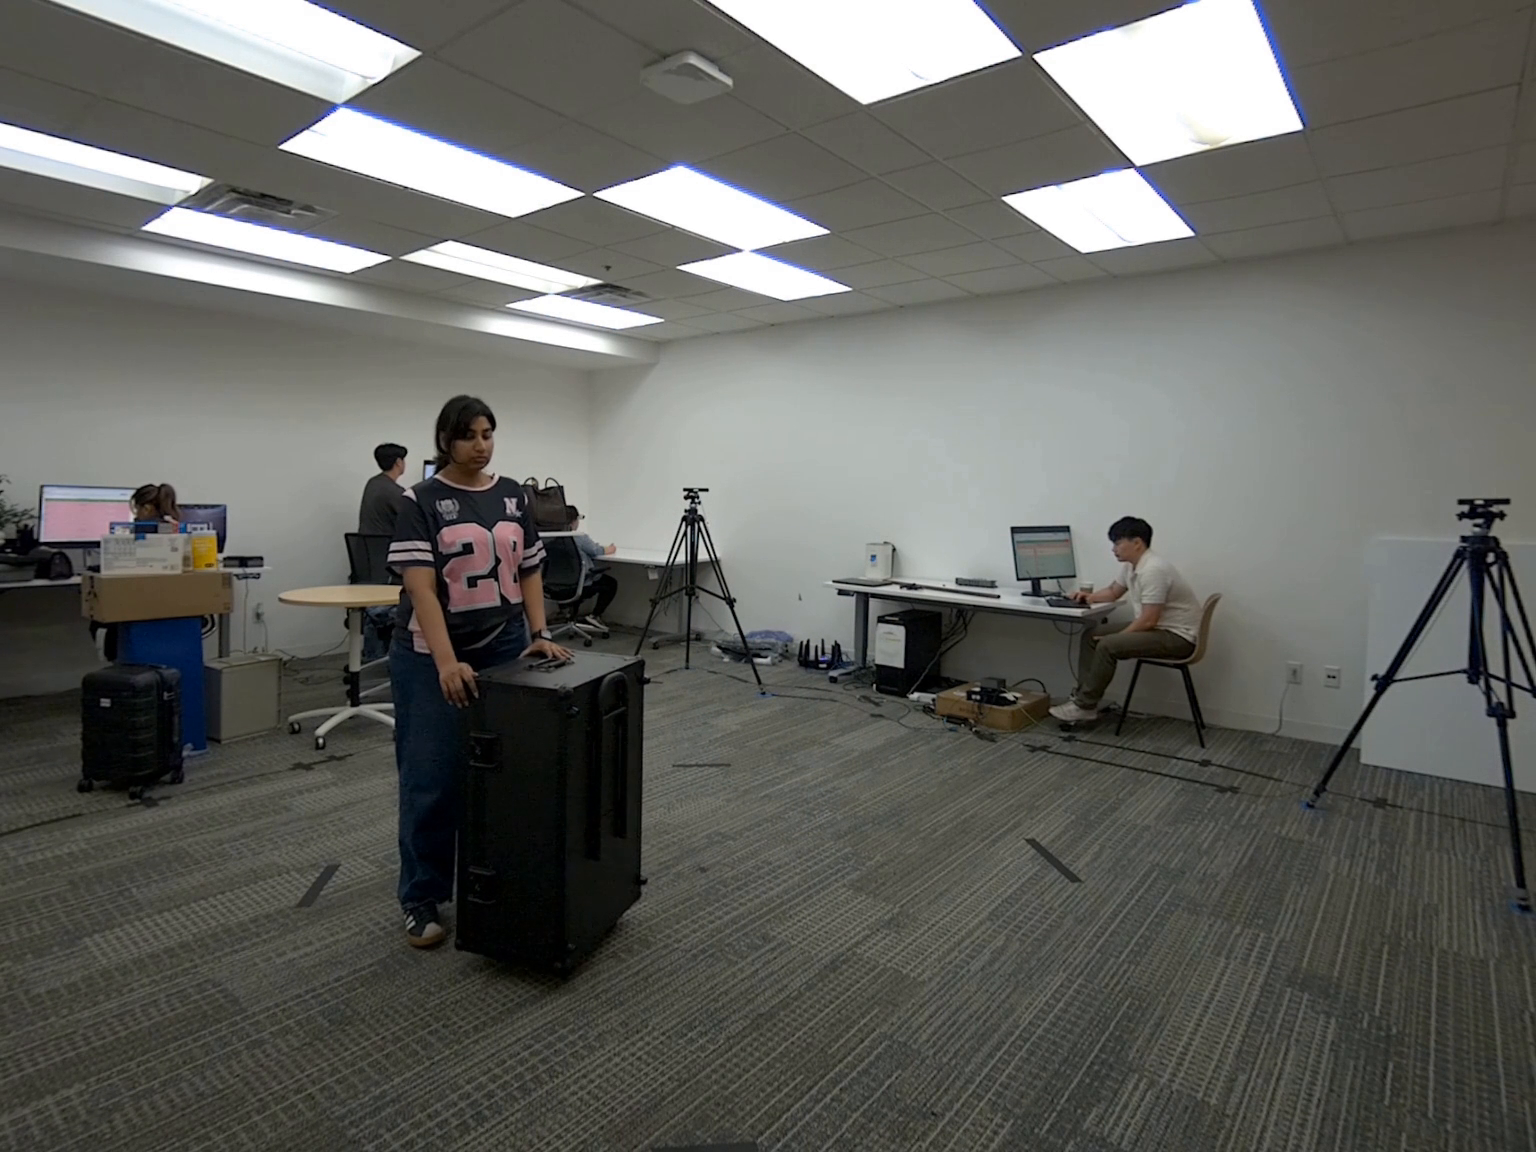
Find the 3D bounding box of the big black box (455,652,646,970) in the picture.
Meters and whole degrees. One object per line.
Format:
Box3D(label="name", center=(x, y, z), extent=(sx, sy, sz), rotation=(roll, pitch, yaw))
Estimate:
Box3D(label="big black box", center=(-0.644, 0.698, 2.560), extent=(0.393, 0.865, 0.515), rotation=(3, 4, 17))
